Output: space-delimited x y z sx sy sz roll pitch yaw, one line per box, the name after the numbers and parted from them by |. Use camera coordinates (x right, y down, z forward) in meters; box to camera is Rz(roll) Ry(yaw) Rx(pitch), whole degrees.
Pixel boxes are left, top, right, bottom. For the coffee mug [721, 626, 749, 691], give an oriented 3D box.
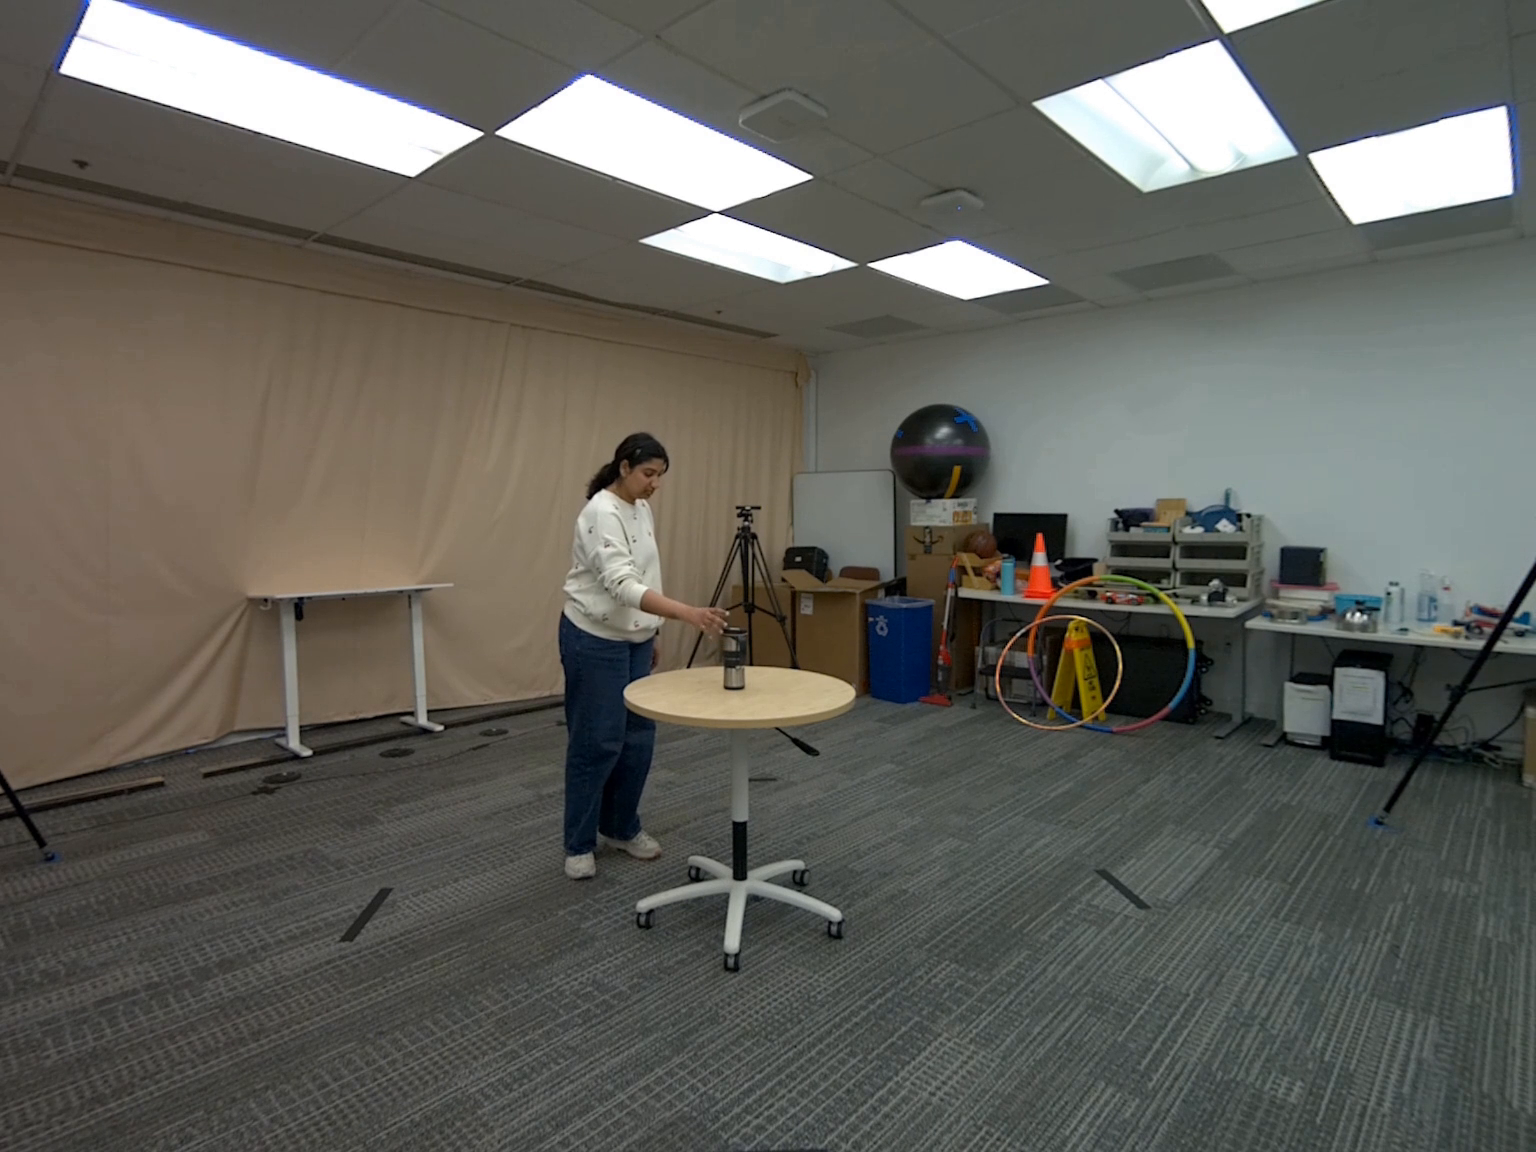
-0.125 0.283 2.784 0.091 0.202 0.118 5 6 36 | coffee mug
